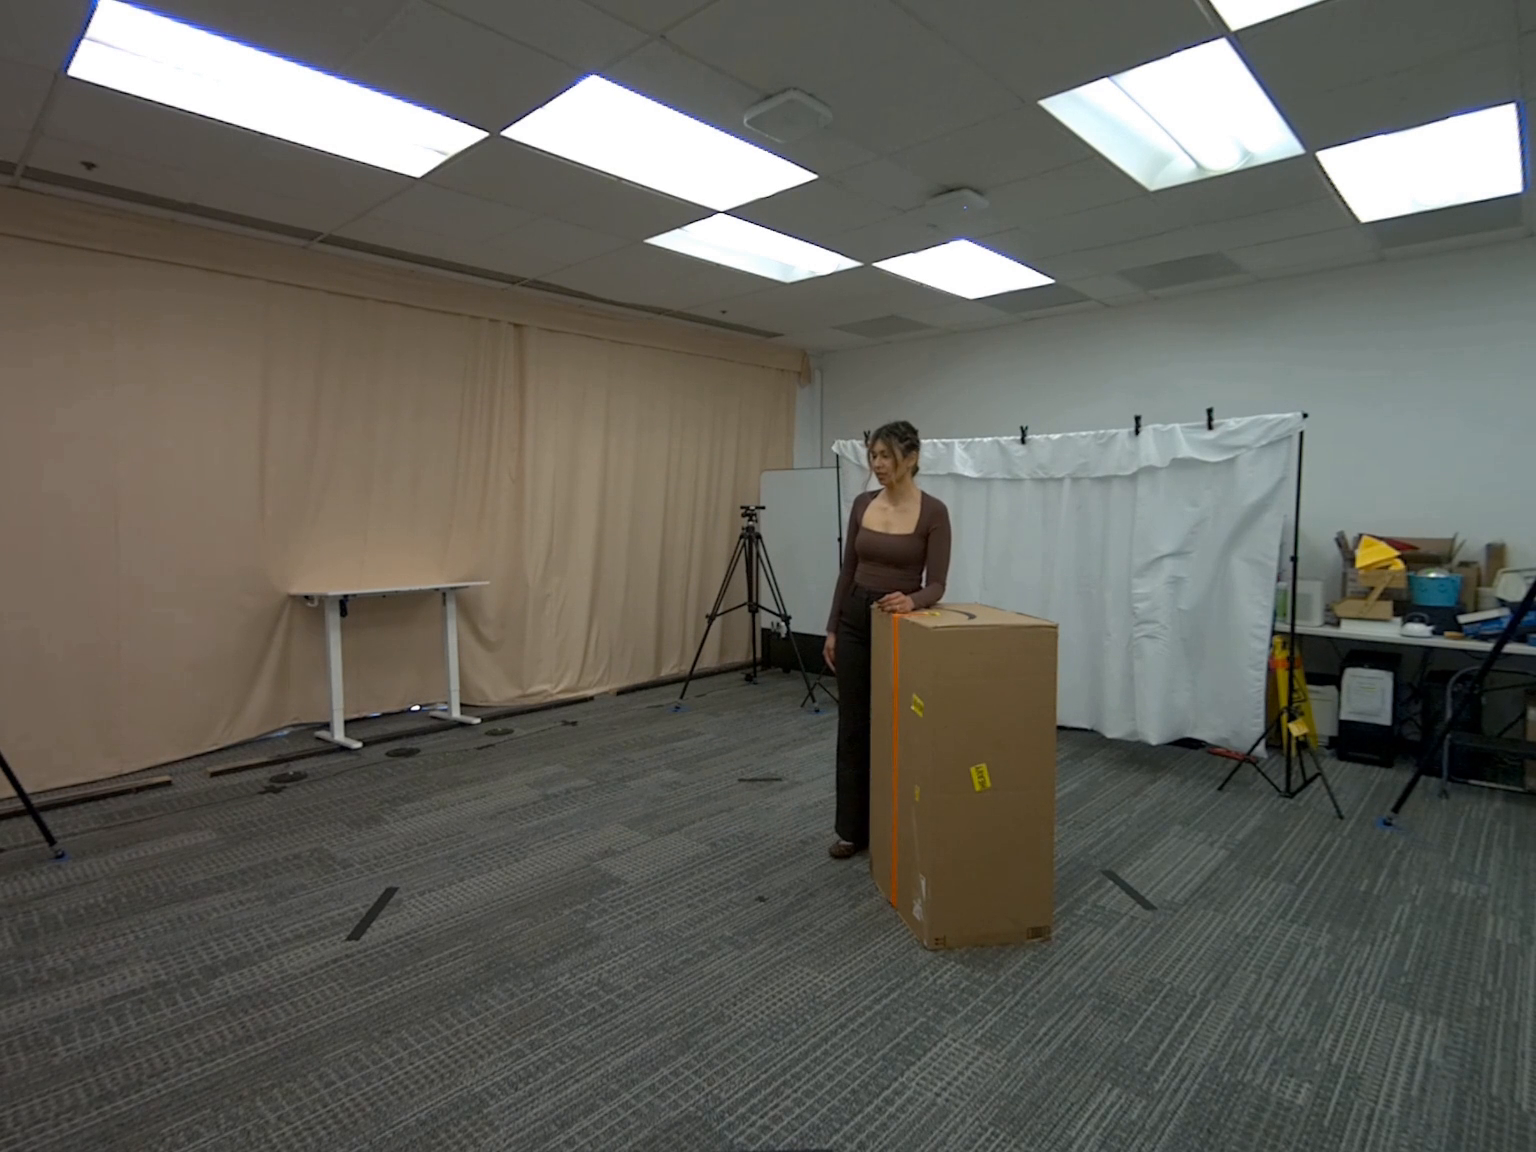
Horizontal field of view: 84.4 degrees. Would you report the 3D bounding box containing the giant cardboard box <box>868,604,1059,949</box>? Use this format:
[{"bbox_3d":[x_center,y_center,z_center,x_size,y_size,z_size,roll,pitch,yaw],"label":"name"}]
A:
[{"bbox_3d":[0.649,0.636,2.914,0.442,1.025,0.591,-1,3,-11],"label":"giant cardboard box"}]
